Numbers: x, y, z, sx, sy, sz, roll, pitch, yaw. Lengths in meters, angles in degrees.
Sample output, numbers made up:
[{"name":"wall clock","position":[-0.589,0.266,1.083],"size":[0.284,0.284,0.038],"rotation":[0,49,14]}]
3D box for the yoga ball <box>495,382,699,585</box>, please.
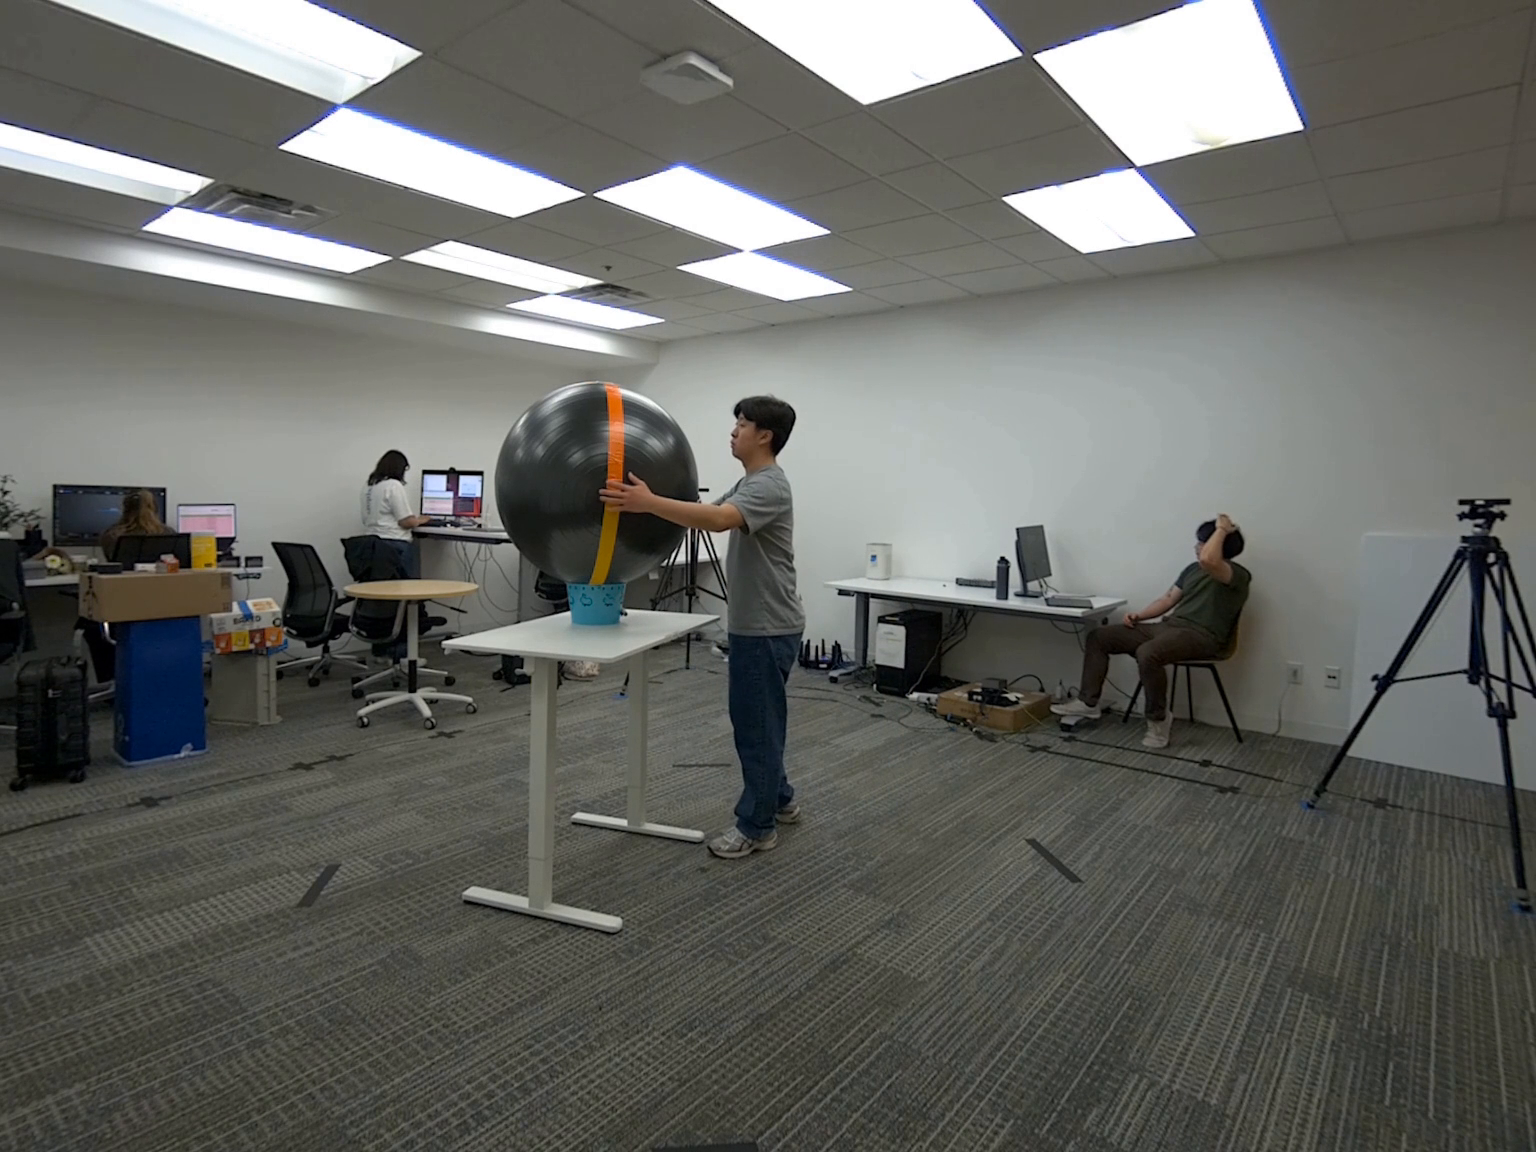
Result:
[{"name":"yoga ball","position":[-0.657,-0.339,3.190],"size":[0.757,0.755,0.762],"rotation":[1,4,-2]}]
